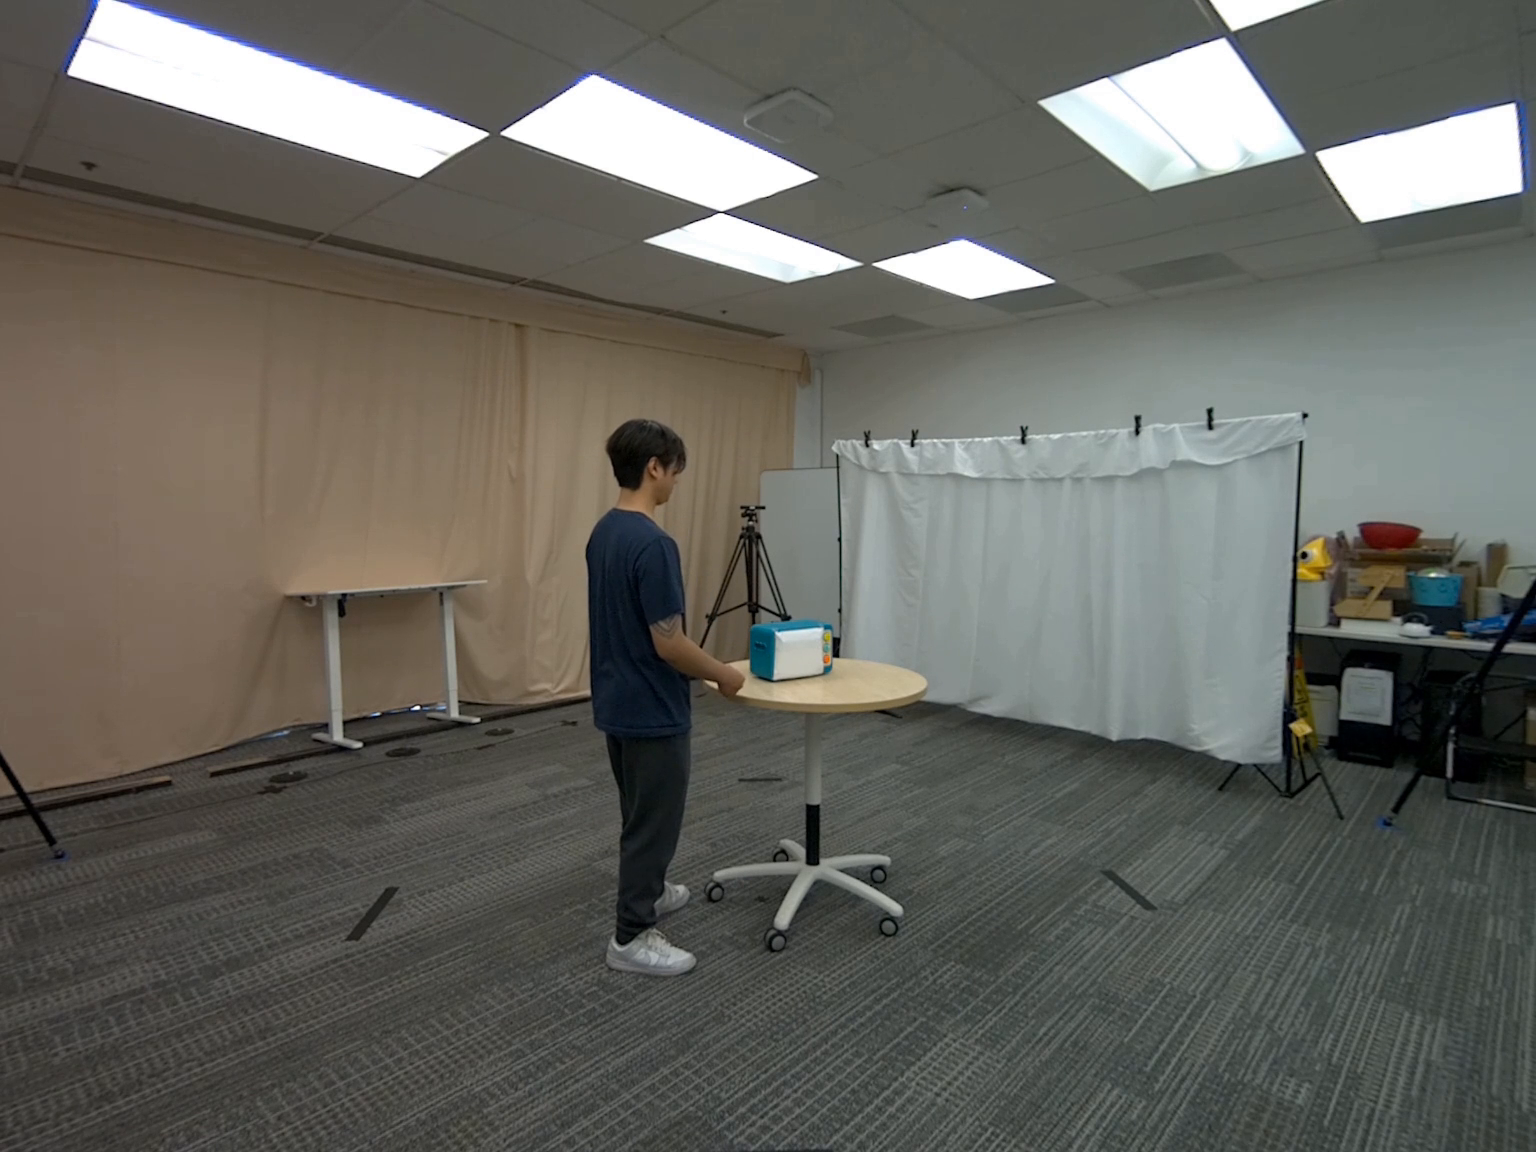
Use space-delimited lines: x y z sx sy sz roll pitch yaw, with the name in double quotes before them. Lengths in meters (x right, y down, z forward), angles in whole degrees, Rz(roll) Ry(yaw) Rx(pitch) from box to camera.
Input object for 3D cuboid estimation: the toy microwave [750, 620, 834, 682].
"toy microwave" 0.091 0.257 2.930 0.278 0.184 0.157 -2 4 -34
